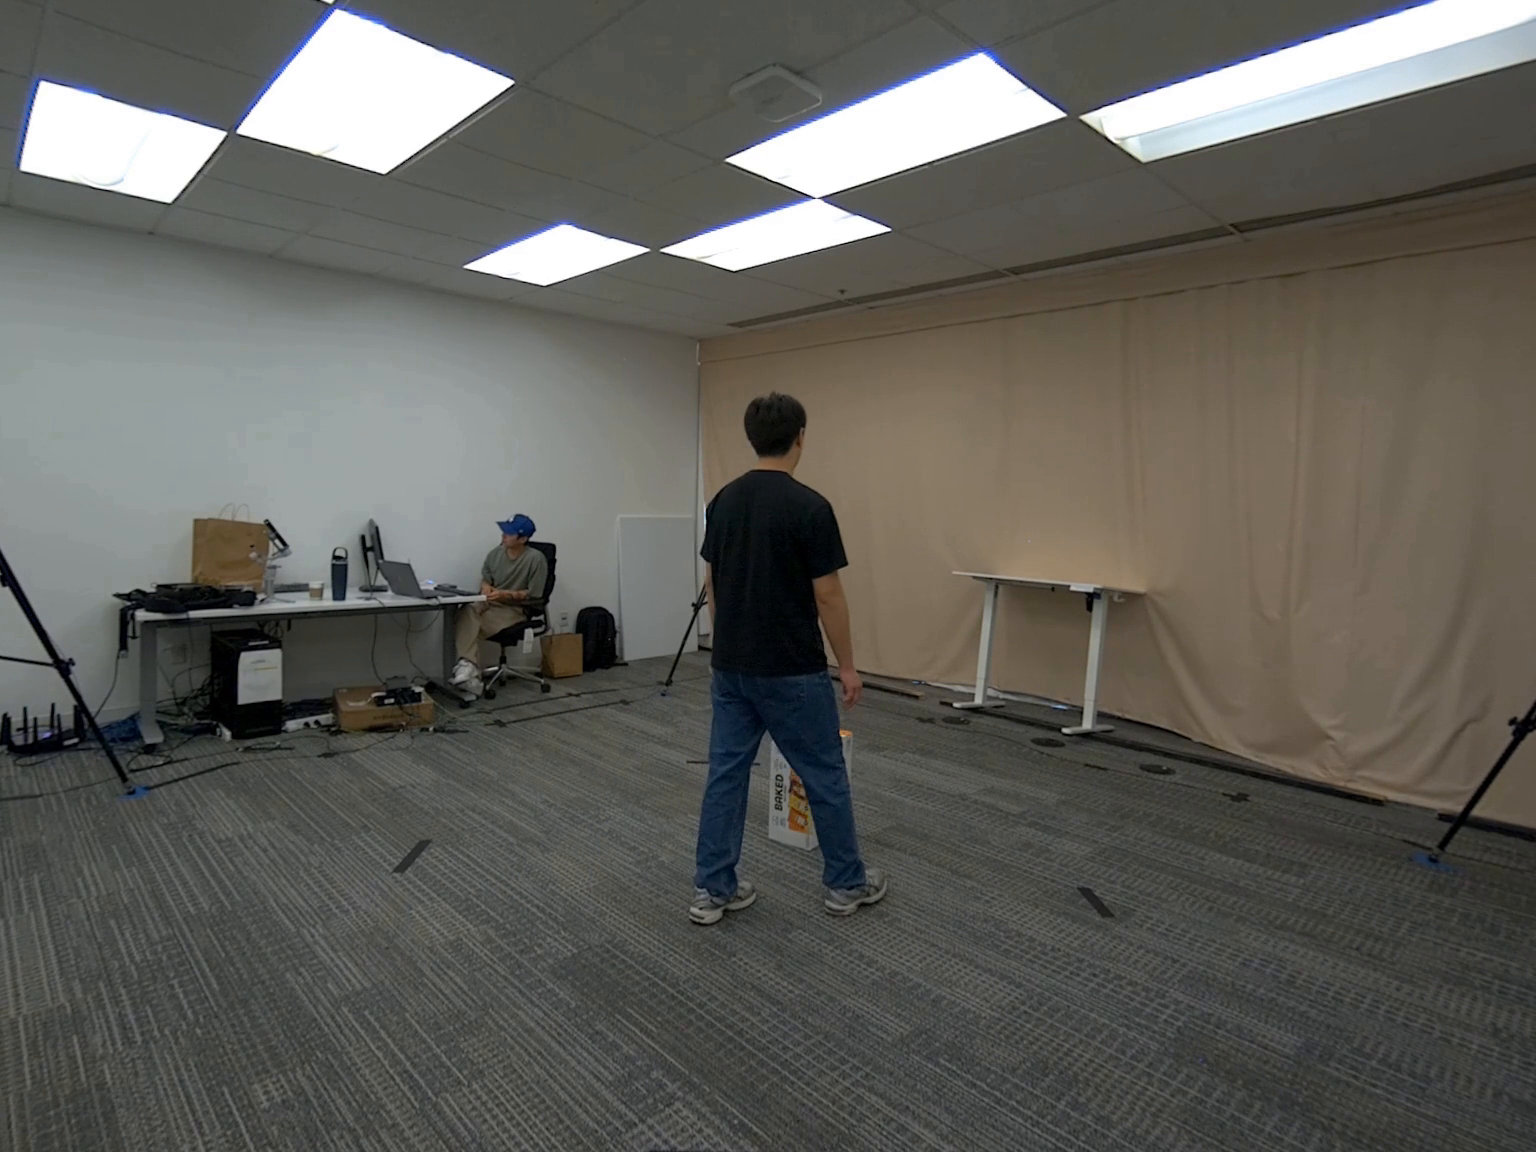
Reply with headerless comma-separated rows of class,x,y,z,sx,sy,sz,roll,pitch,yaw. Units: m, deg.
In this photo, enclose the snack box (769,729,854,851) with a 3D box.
snack box,0.182,0.878,3.529,0.210,0.404,0.333,3,3,34
